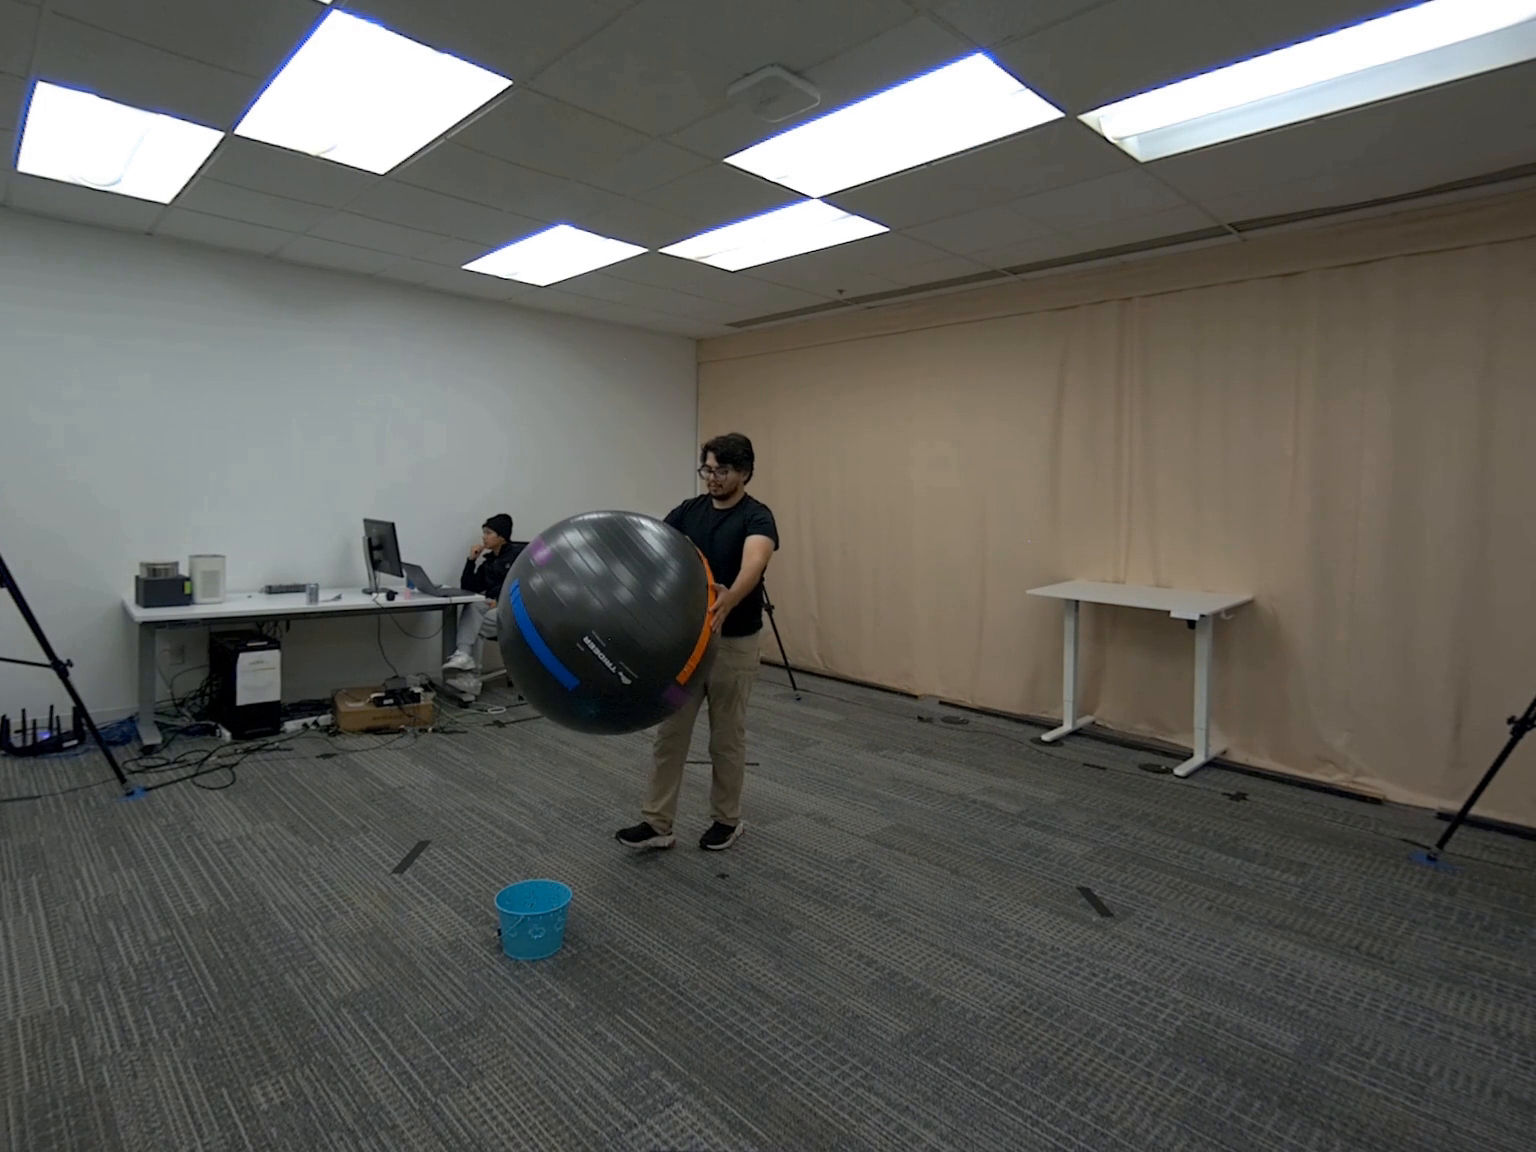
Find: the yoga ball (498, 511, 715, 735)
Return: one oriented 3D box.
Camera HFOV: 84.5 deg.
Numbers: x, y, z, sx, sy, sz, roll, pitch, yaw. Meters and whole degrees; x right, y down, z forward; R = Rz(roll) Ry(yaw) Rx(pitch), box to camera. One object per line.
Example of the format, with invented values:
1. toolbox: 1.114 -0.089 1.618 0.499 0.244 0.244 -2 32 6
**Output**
1. yoga ball: -0.543 0.167 2.863 0.757 0.756 0.761 1 4 -1
